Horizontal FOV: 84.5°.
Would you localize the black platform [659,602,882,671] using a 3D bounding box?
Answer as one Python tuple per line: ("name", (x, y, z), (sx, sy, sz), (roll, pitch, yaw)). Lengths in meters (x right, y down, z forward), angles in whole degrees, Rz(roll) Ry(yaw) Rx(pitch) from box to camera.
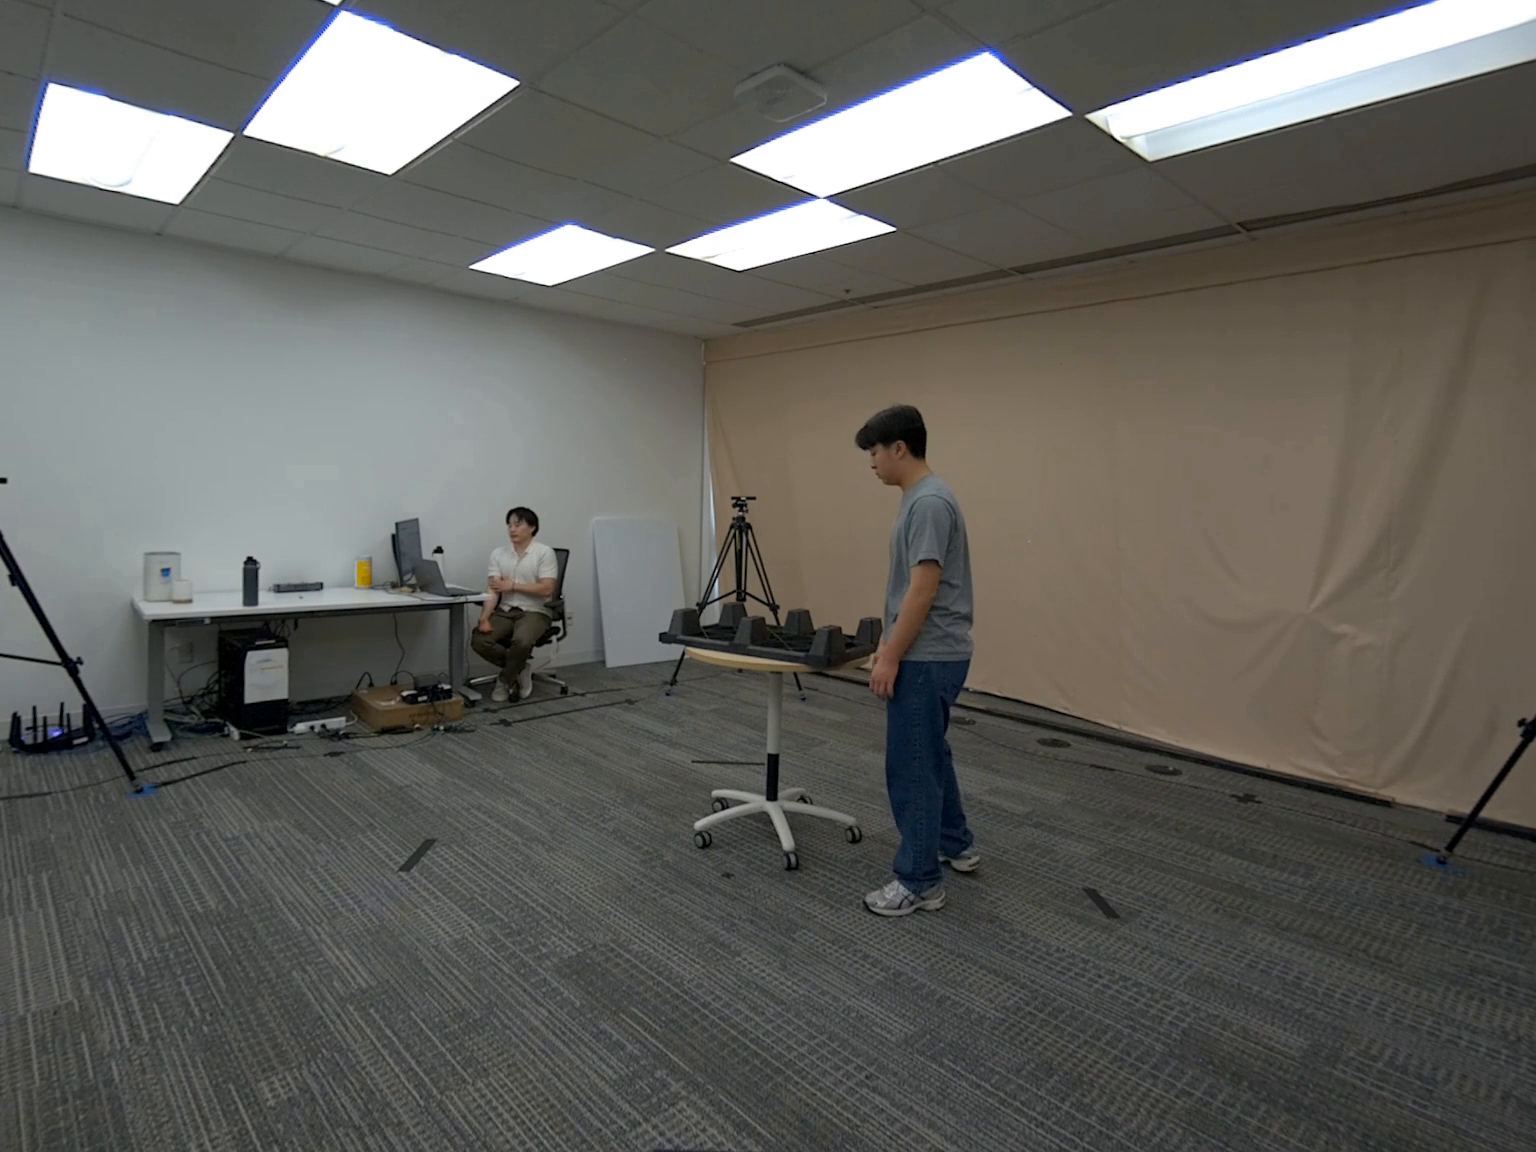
("black platform", (0.022, 0.227, 3.520), (0.824, 0.143, 0.592), (5, 5, 32))
